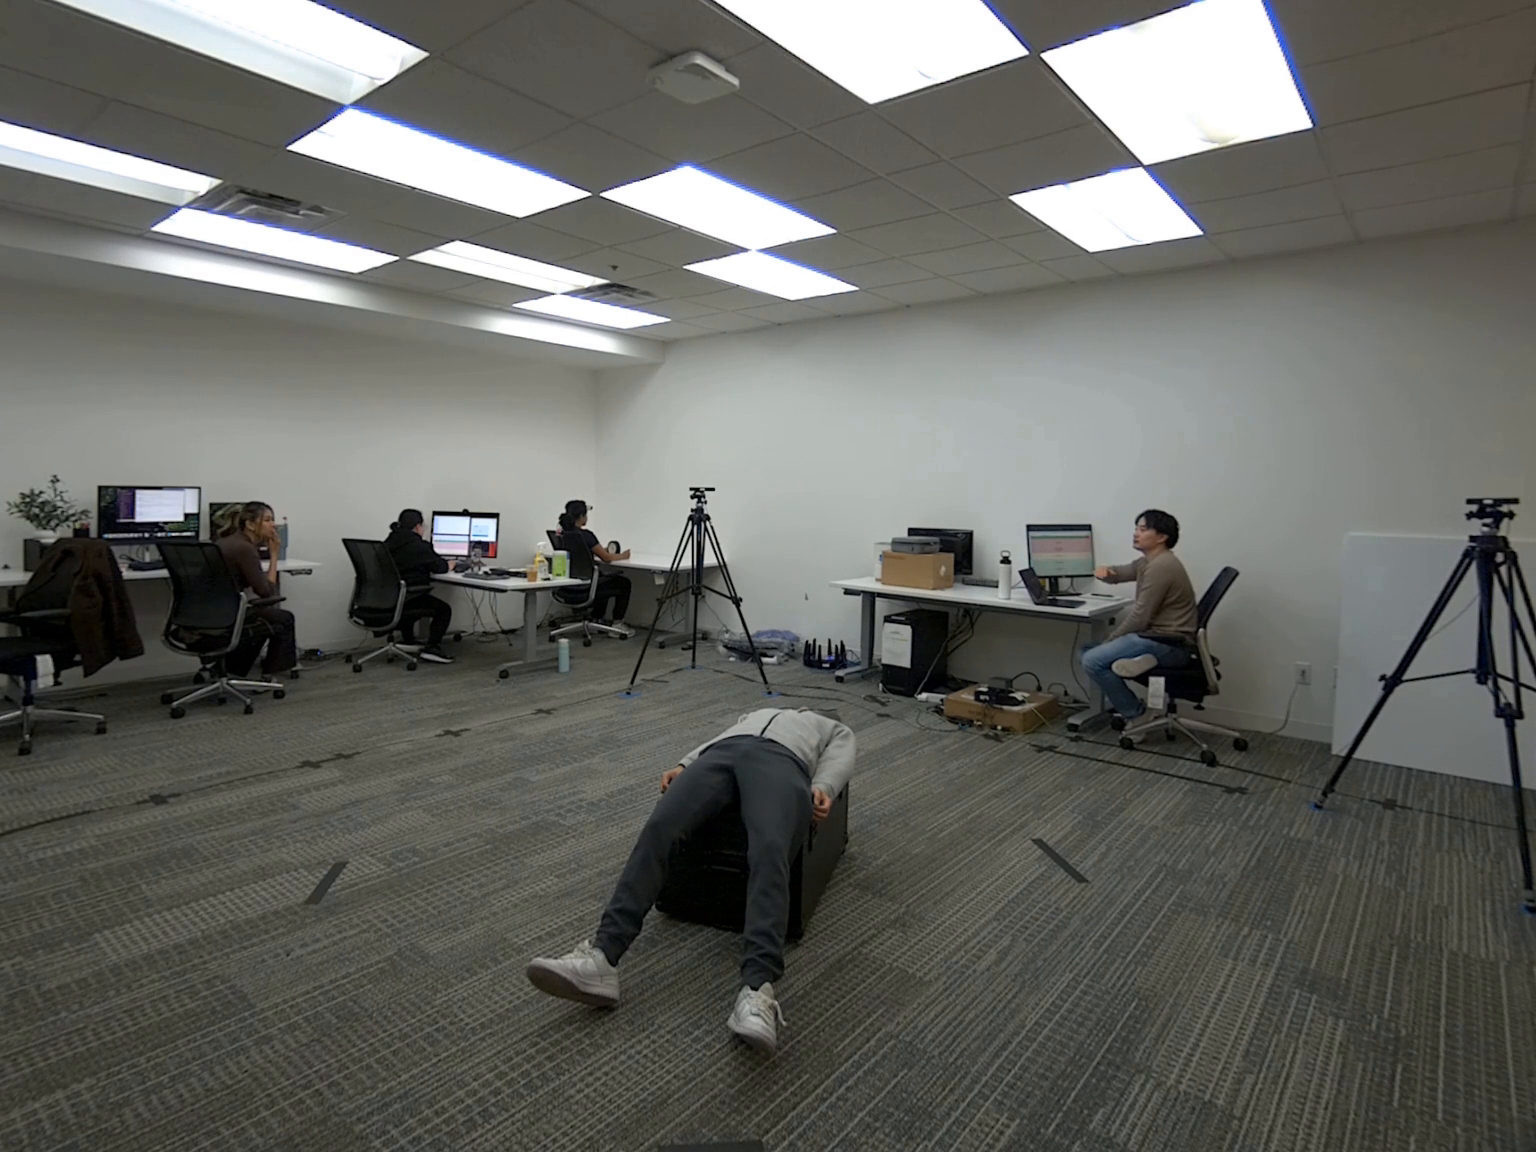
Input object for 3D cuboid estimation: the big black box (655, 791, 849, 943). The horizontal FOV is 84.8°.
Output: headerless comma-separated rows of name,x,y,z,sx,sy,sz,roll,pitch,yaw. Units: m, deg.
big black box,-0.045,0.897,2.992,0.532,0.395,0.847,2,4,18
